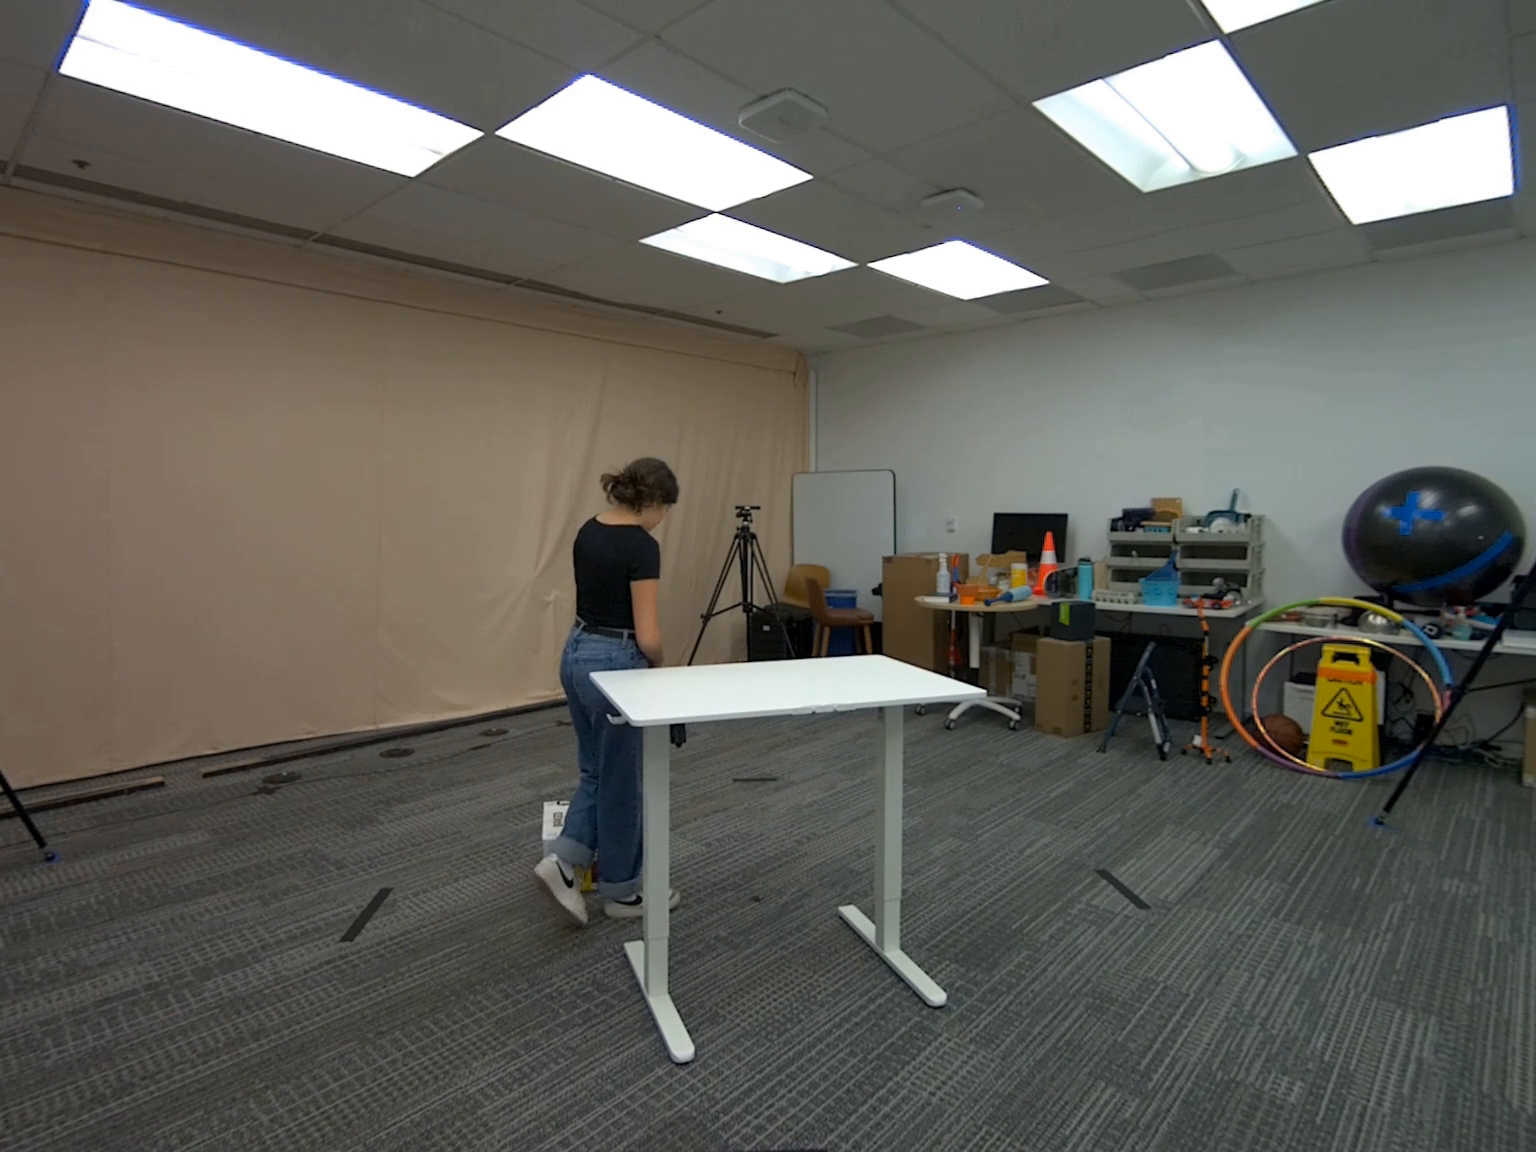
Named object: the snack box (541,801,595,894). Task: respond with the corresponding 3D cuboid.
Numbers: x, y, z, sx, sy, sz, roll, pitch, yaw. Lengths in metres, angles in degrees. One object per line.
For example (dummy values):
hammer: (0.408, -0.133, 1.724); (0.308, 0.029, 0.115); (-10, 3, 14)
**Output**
snack box: (-0.696, 1.028, 3.241); (0.336, 0.205, 0.411); (-1, 4, -13)
